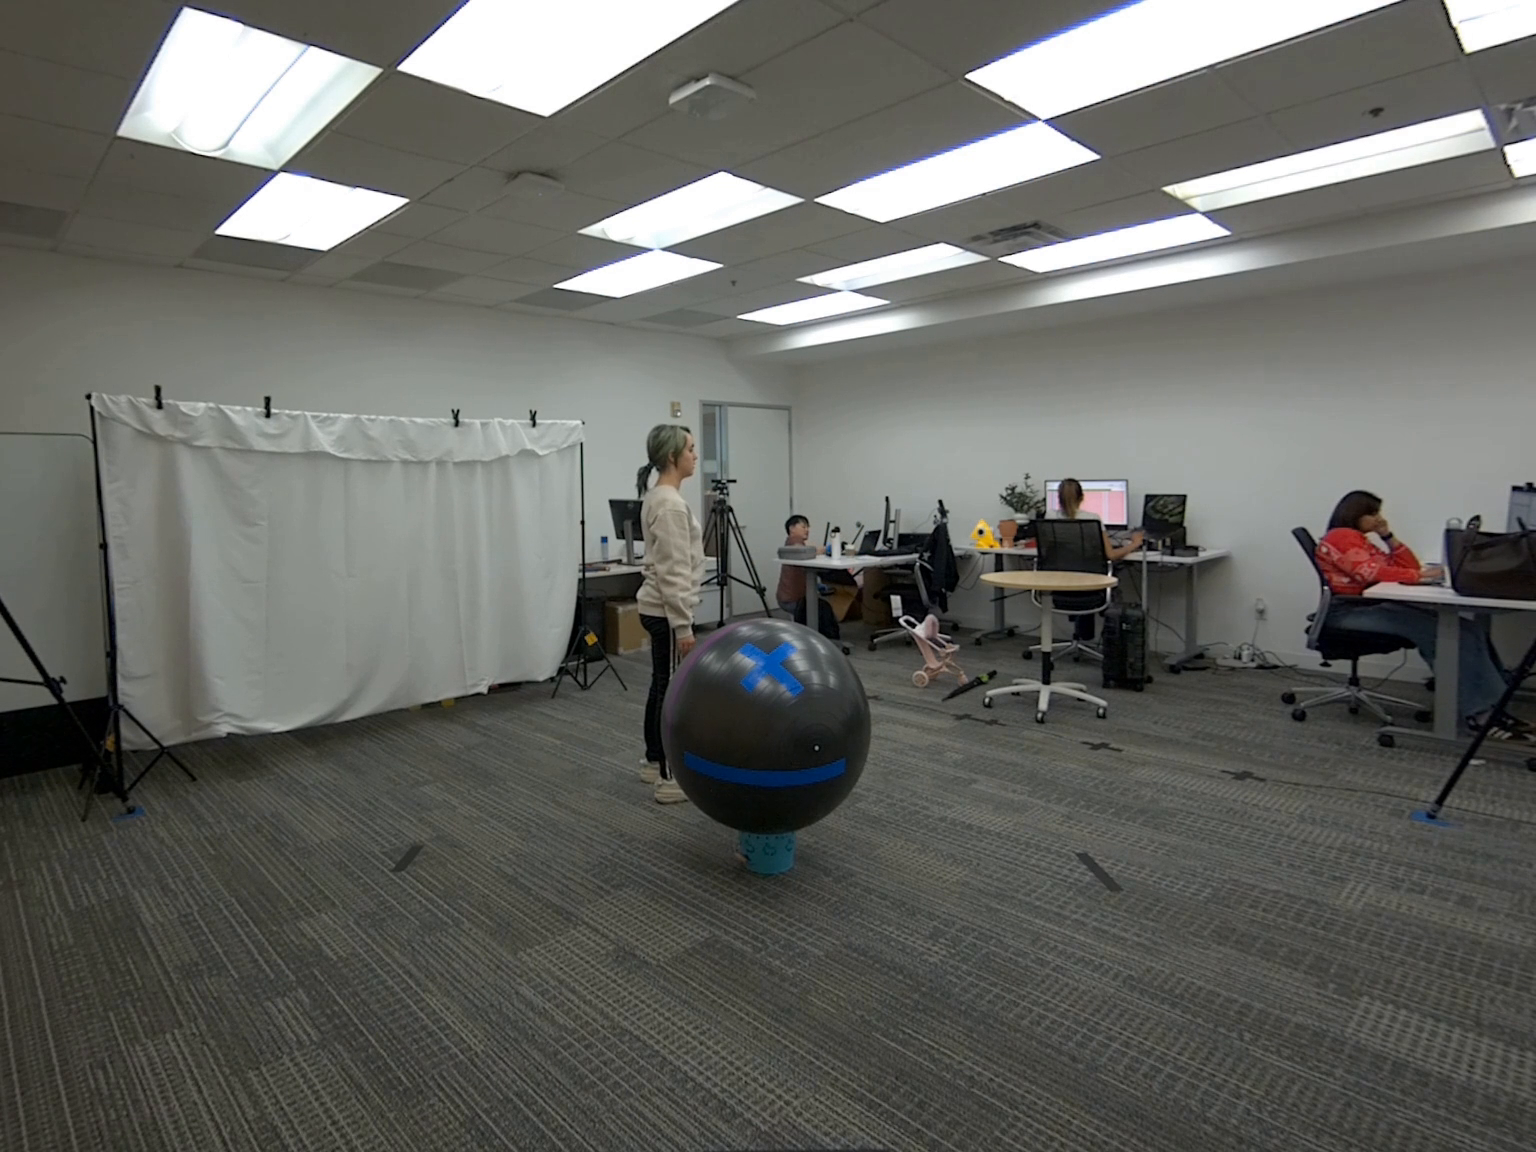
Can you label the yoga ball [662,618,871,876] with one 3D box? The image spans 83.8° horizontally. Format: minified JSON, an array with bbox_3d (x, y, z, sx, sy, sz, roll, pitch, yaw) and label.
[{"bbox_3d":[-0.010,0.533,3.091,0.757,0.755,0.762,-1,5,-2],"label":"yoga ball"}]
